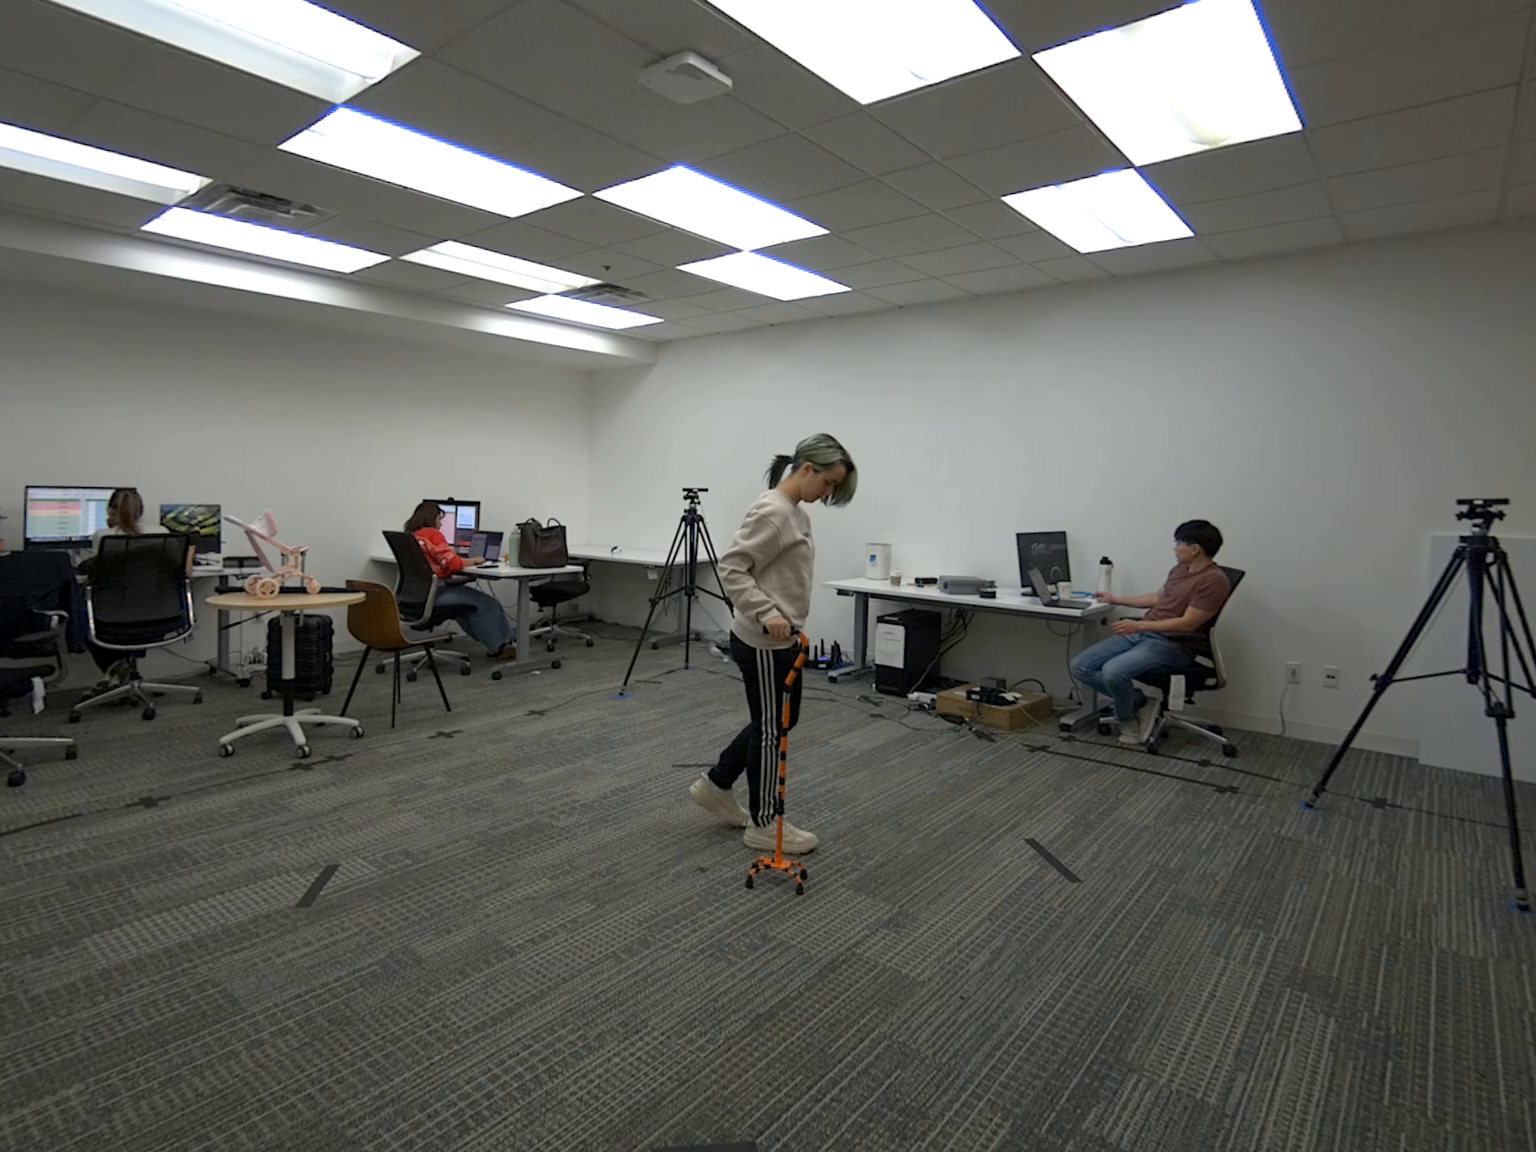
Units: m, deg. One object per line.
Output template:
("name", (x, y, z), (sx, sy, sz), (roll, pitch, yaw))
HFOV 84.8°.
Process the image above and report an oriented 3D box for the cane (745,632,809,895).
("cane", (0.049, 0.625, 2.991), (0.209, 0.905, 0.150), (3, 3, 10))
